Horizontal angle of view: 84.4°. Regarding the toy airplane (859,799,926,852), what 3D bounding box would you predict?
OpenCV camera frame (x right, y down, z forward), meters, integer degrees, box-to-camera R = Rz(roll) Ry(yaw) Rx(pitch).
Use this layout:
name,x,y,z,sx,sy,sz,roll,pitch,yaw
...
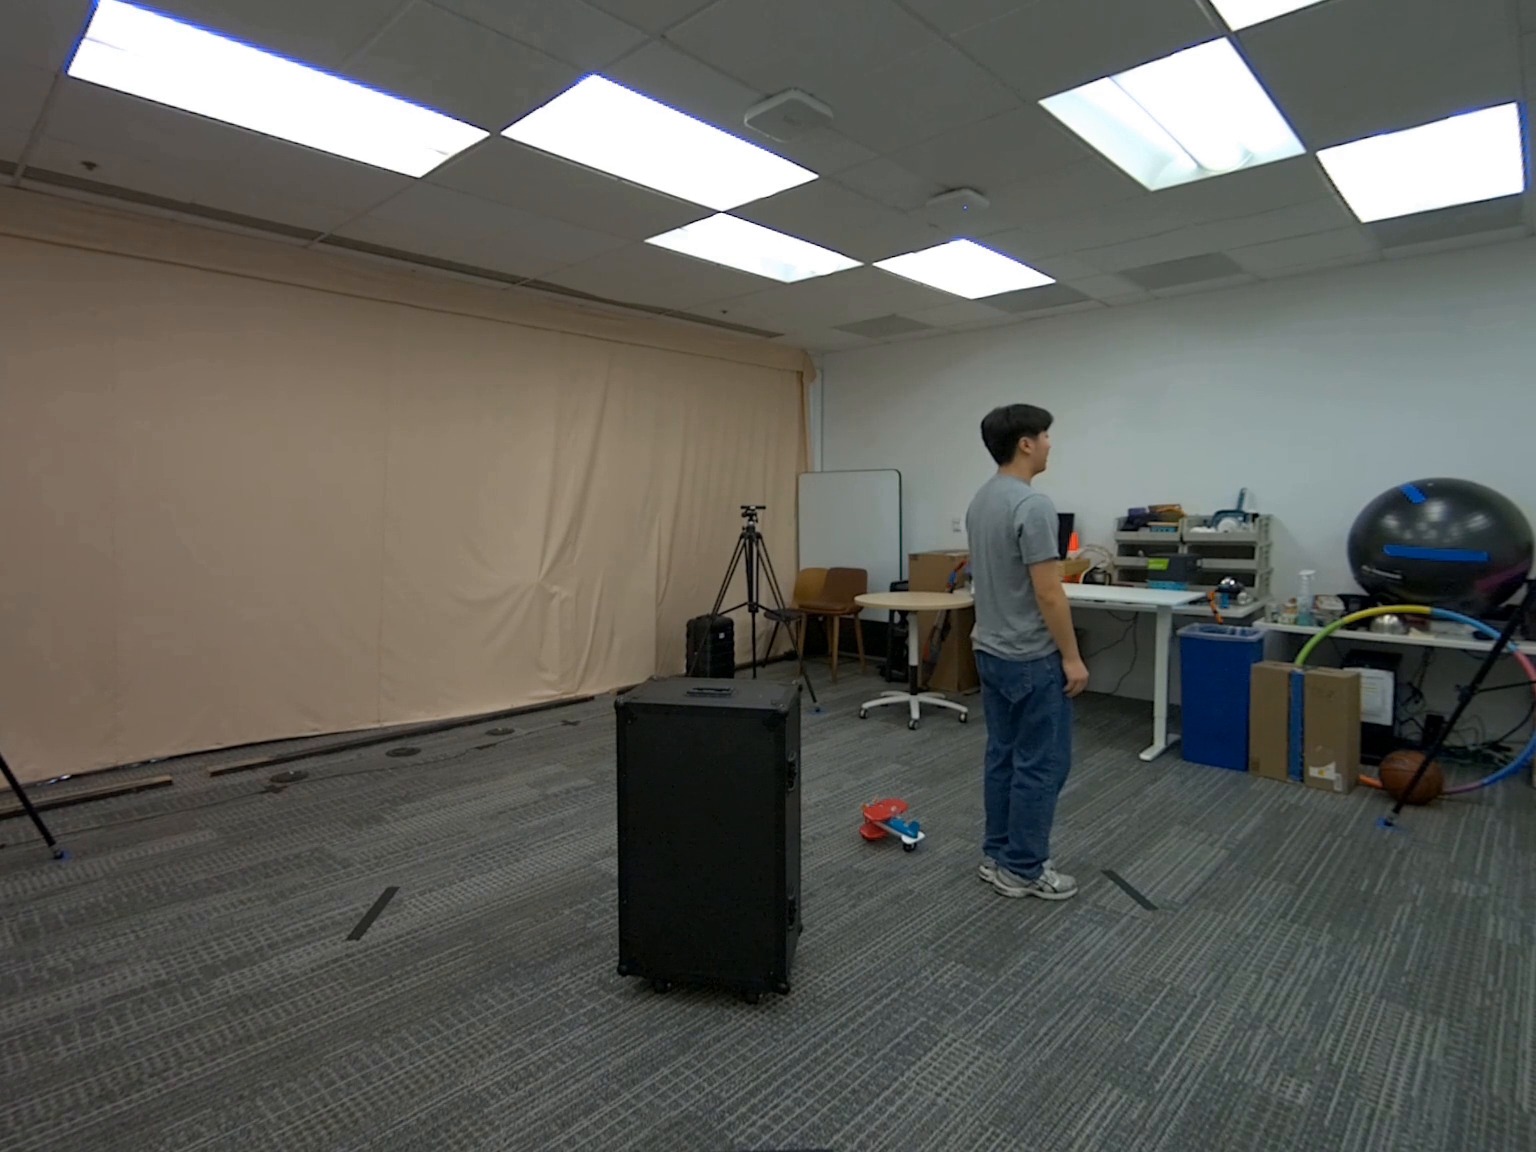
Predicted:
name,x,y,z,sx,sy,sz,roll,pitch,yaw
toy airplane,0.519,1.027,3.477,0.264,0.156,0.247,0,4,18
